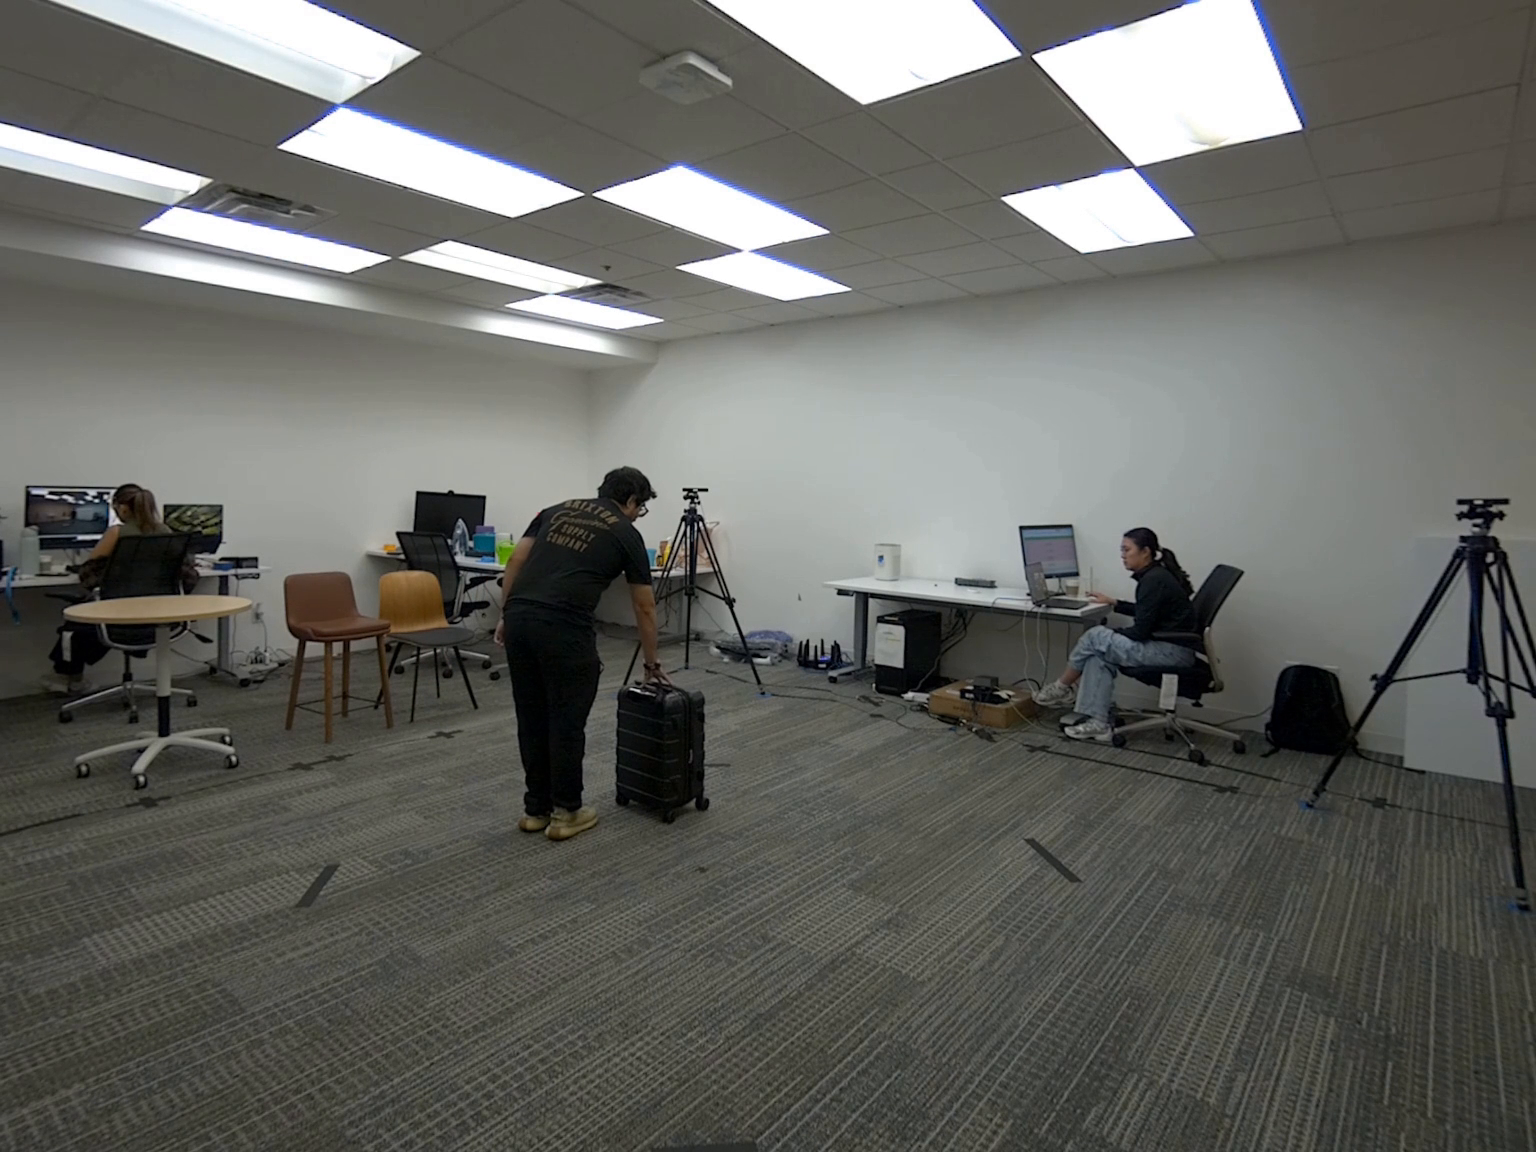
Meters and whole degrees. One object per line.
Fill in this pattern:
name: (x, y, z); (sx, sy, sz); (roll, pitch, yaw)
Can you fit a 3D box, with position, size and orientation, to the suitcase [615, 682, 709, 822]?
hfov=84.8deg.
suitcase: (-0.481, 0.735, 3.698); (0.388, 0.547, 0.241); (4, 6, 41)
